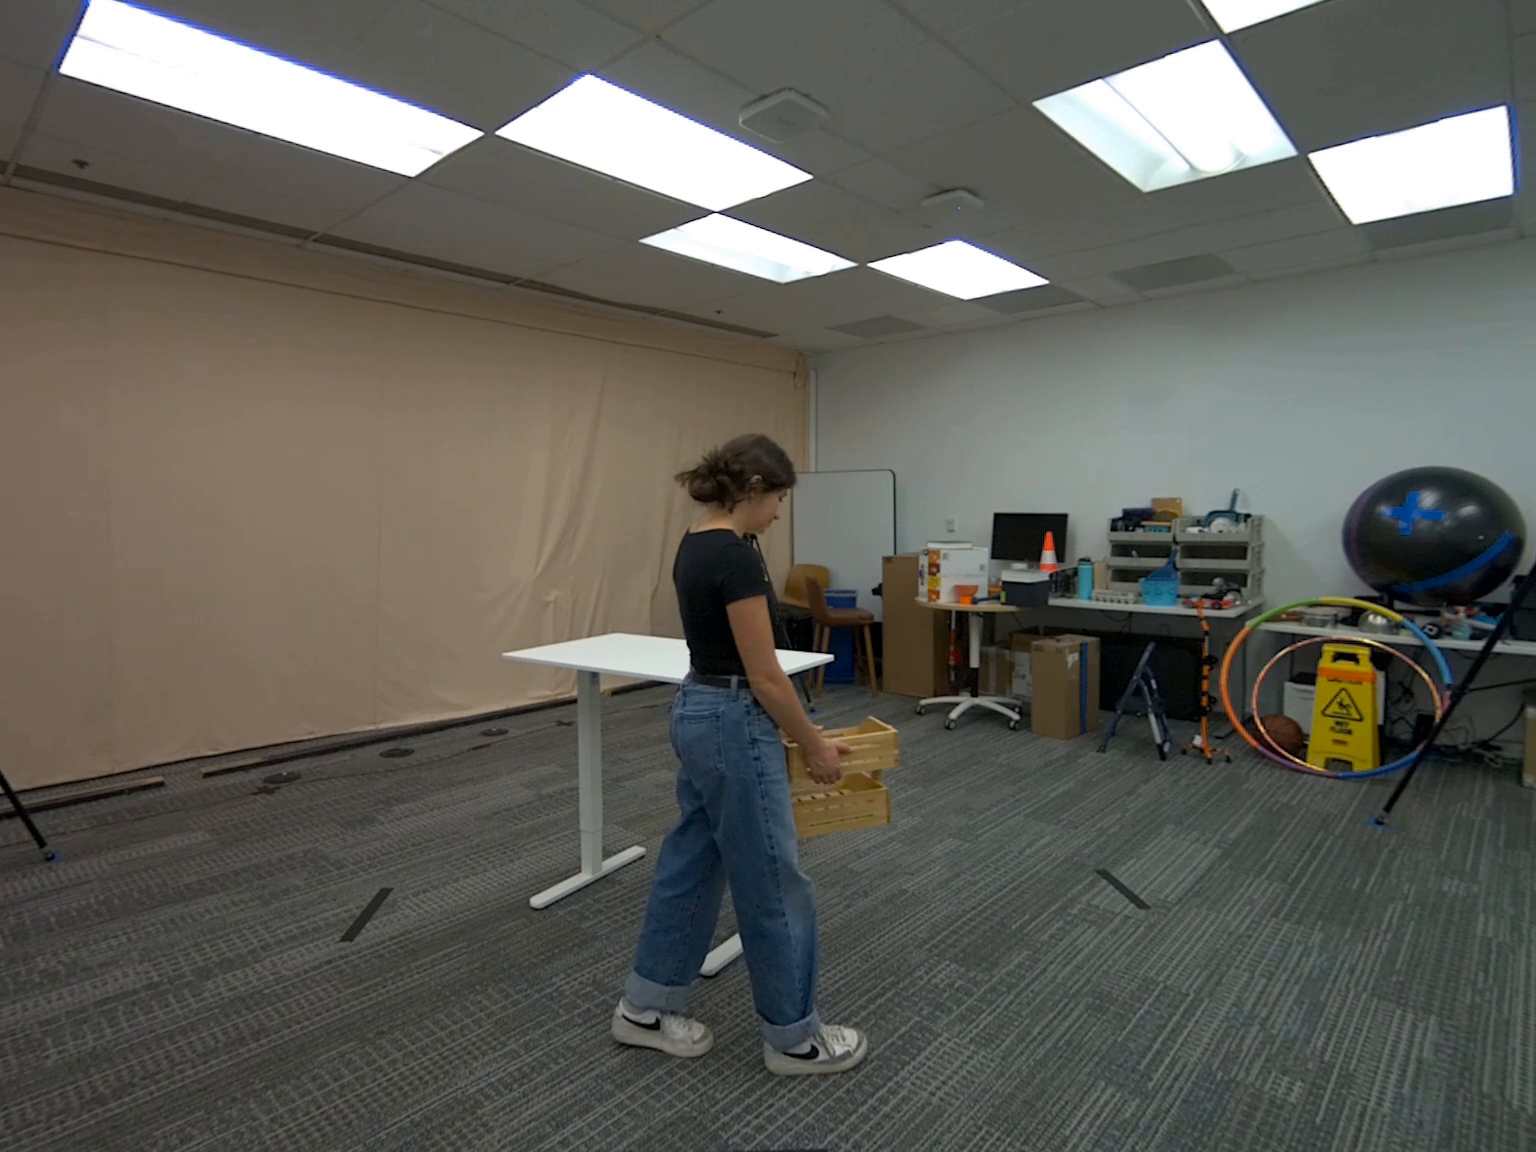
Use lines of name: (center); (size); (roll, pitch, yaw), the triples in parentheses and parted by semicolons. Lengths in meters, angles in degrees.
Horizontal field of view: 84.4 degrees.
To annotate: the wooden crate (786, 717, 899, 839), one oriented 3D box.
wooden crate: (0.151, 0.515, 2.246); (0.318, 0.272, 0.309); (-4, 6, -19)
